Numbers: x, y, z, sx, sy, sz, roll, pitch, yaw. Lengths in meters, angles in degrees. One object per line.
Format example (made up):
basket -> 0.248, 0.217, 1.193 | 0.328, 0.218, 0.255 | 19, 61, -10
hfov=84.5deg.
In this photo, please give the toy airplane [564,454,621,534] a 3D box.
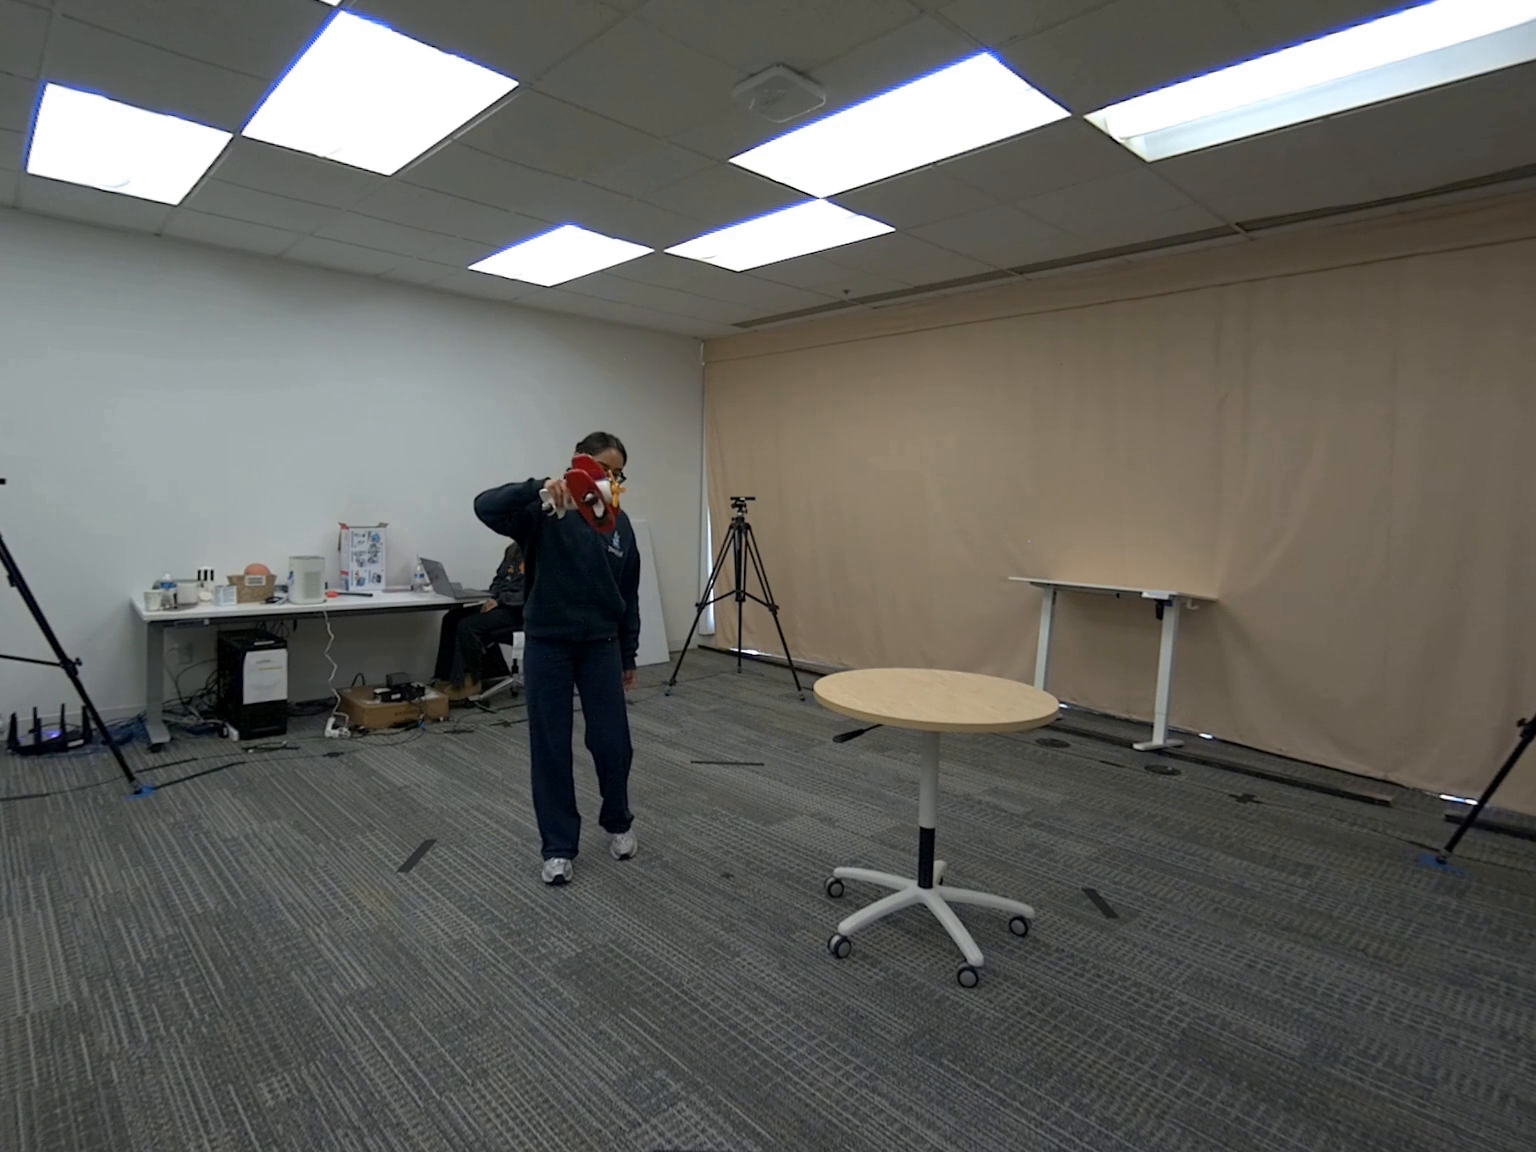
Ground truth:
toy airplane -> -0.604, -0.256, 2.661 | 0.261, 0.158, 0.247 | 18, -39, 6
